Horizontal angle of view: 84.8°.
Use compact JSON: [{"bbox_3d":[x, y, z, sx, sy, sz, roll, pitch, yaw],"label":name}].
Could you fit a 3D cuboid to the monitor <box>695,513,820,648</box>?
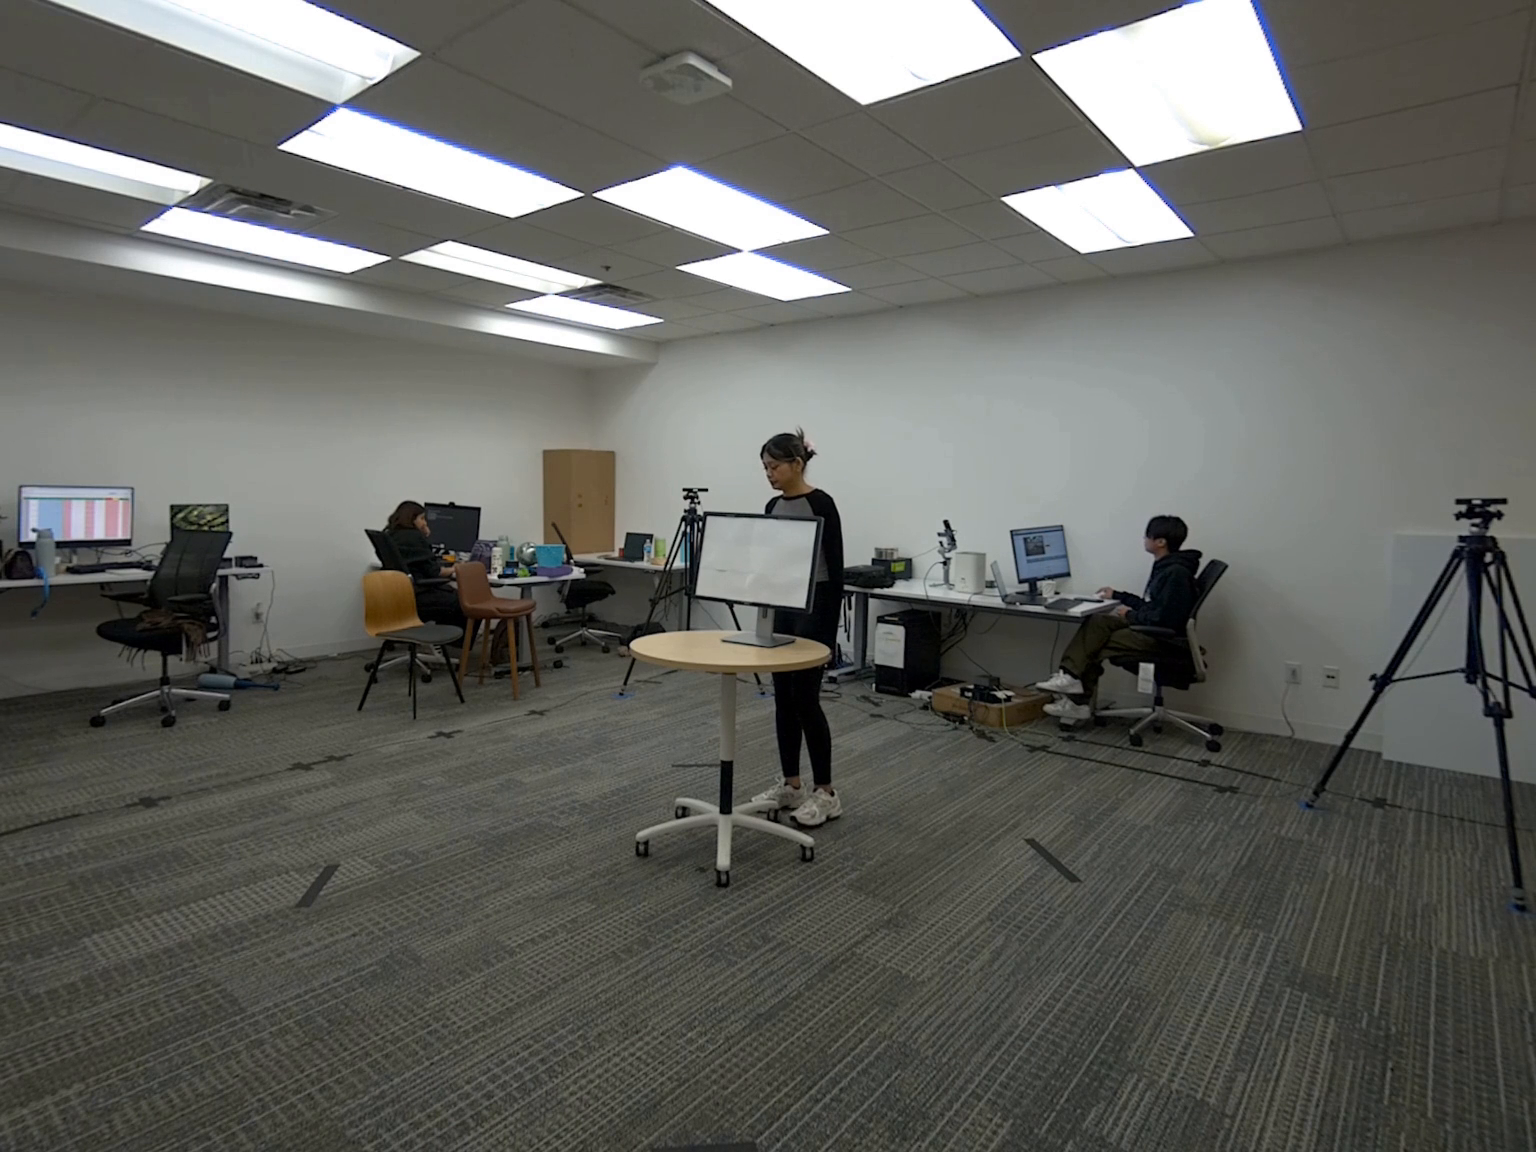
[{"bbox_3d":[-0.047,0.011,3.368,0.547,0.511,0.170,6,11,34],"label":"monitor"}]
